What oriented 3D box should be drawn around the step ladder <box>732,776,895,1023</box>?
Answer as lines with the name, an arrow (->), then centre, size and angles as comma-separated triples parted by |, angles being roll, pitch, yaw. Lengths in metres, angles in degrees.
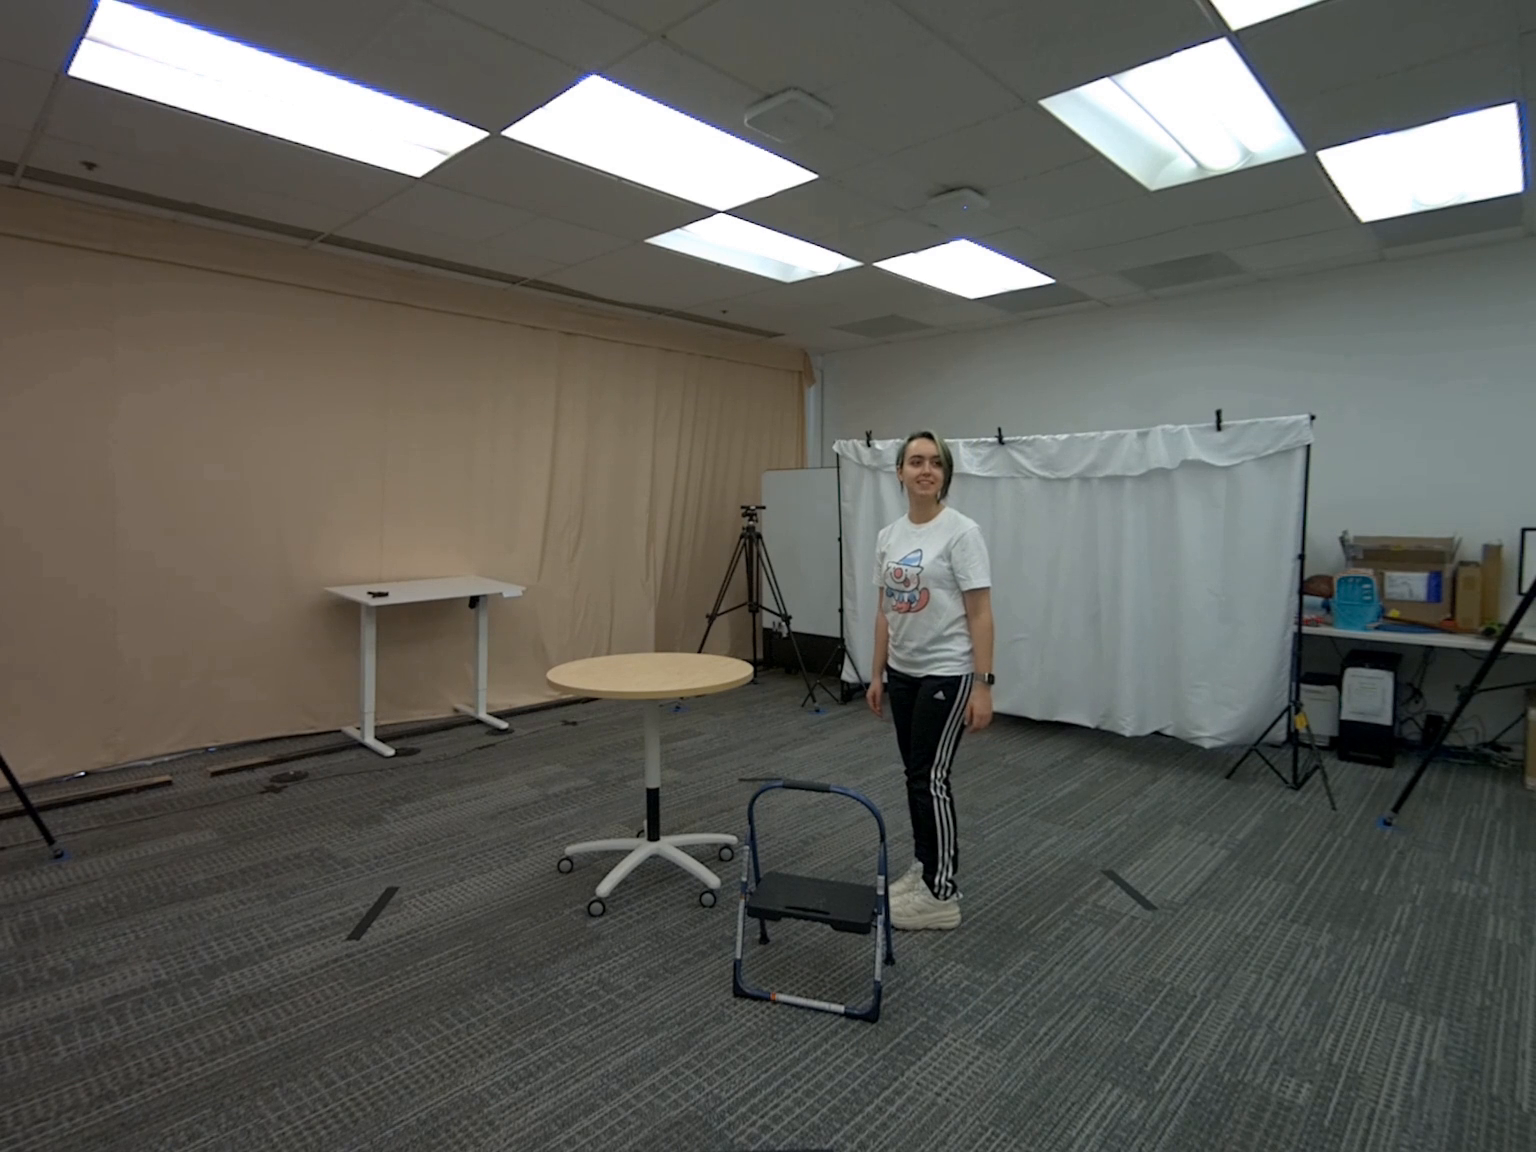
step ladder -> 0.142, 0.884, 2.468 | 0.439, 0.605, 0.343 | 1, 3, 17
